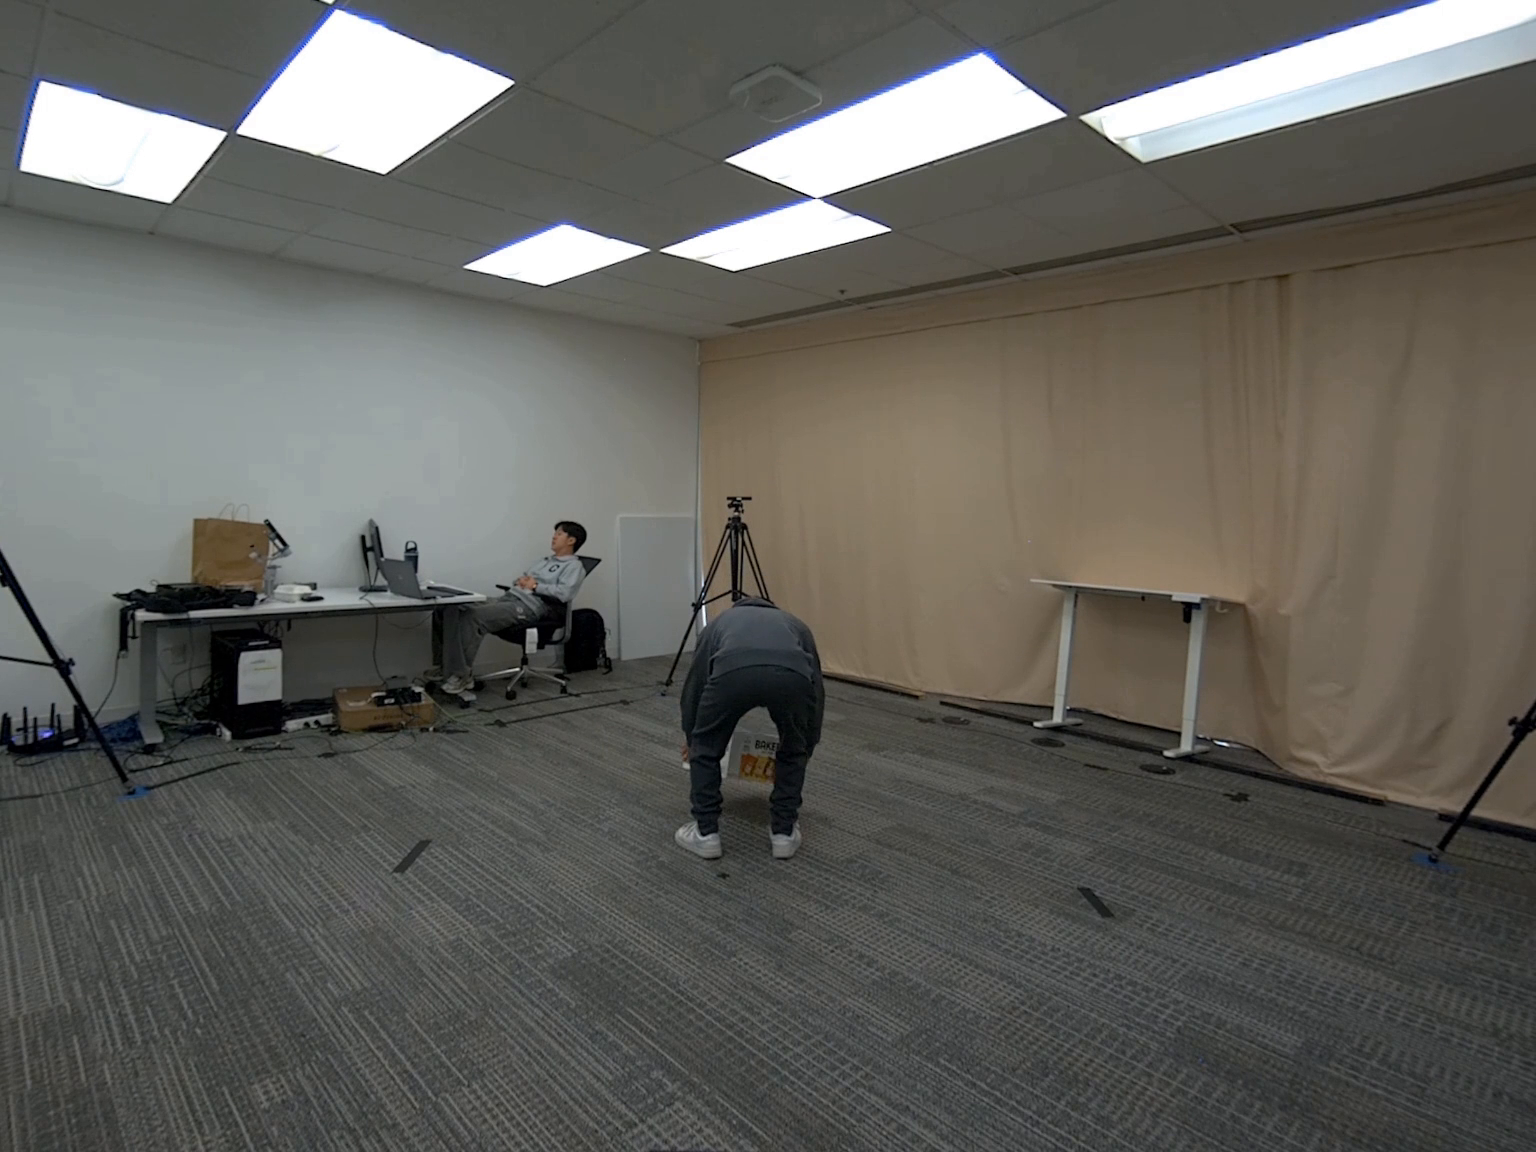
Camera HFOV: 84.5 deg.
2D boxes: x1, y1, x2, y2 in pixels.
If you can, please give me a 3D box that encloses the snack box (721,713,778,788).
[{"bbox_3d":[-0.102,0.793,3.769,0.395,0.207,0.347,15,-12,-31],"label":"snack box"}]
